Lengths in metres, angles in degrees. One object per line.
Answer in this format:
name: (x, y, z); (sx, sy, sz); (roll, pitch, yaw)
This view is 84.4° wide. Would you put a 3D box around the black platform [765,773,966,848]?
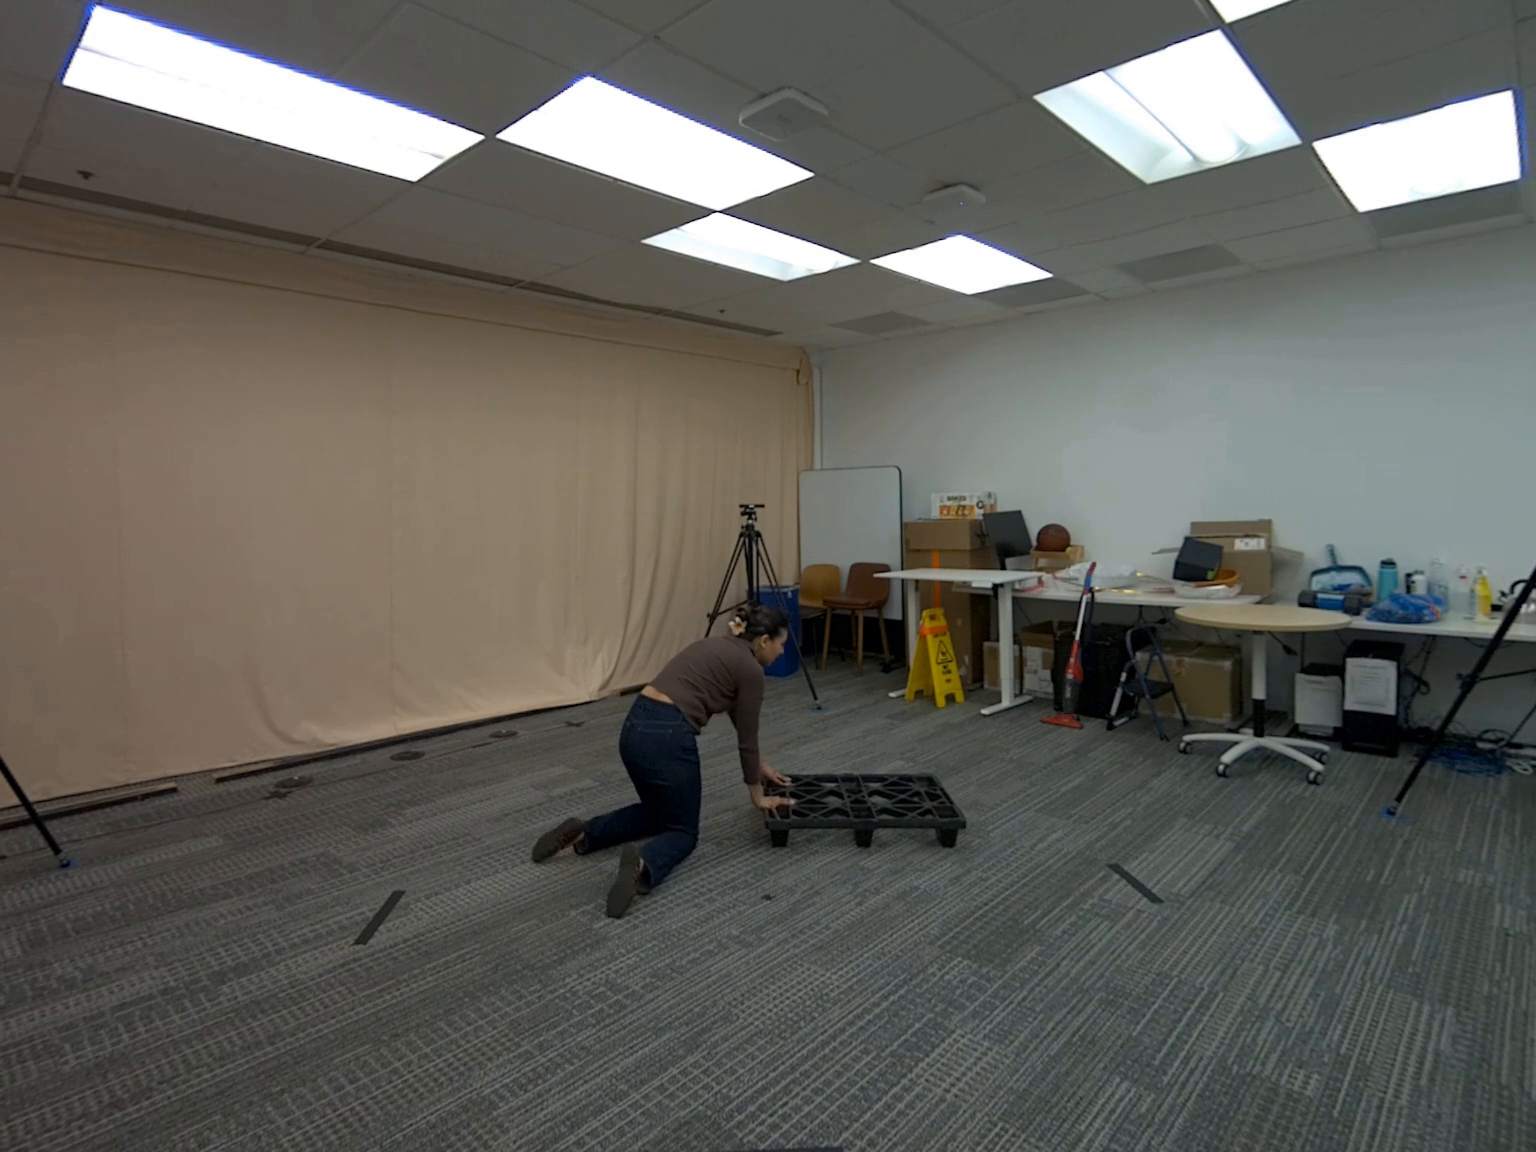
black platform: (0.383, 1.011, 3.625); (0.808, 0.143, 0.605); (-1, 3, 1)
